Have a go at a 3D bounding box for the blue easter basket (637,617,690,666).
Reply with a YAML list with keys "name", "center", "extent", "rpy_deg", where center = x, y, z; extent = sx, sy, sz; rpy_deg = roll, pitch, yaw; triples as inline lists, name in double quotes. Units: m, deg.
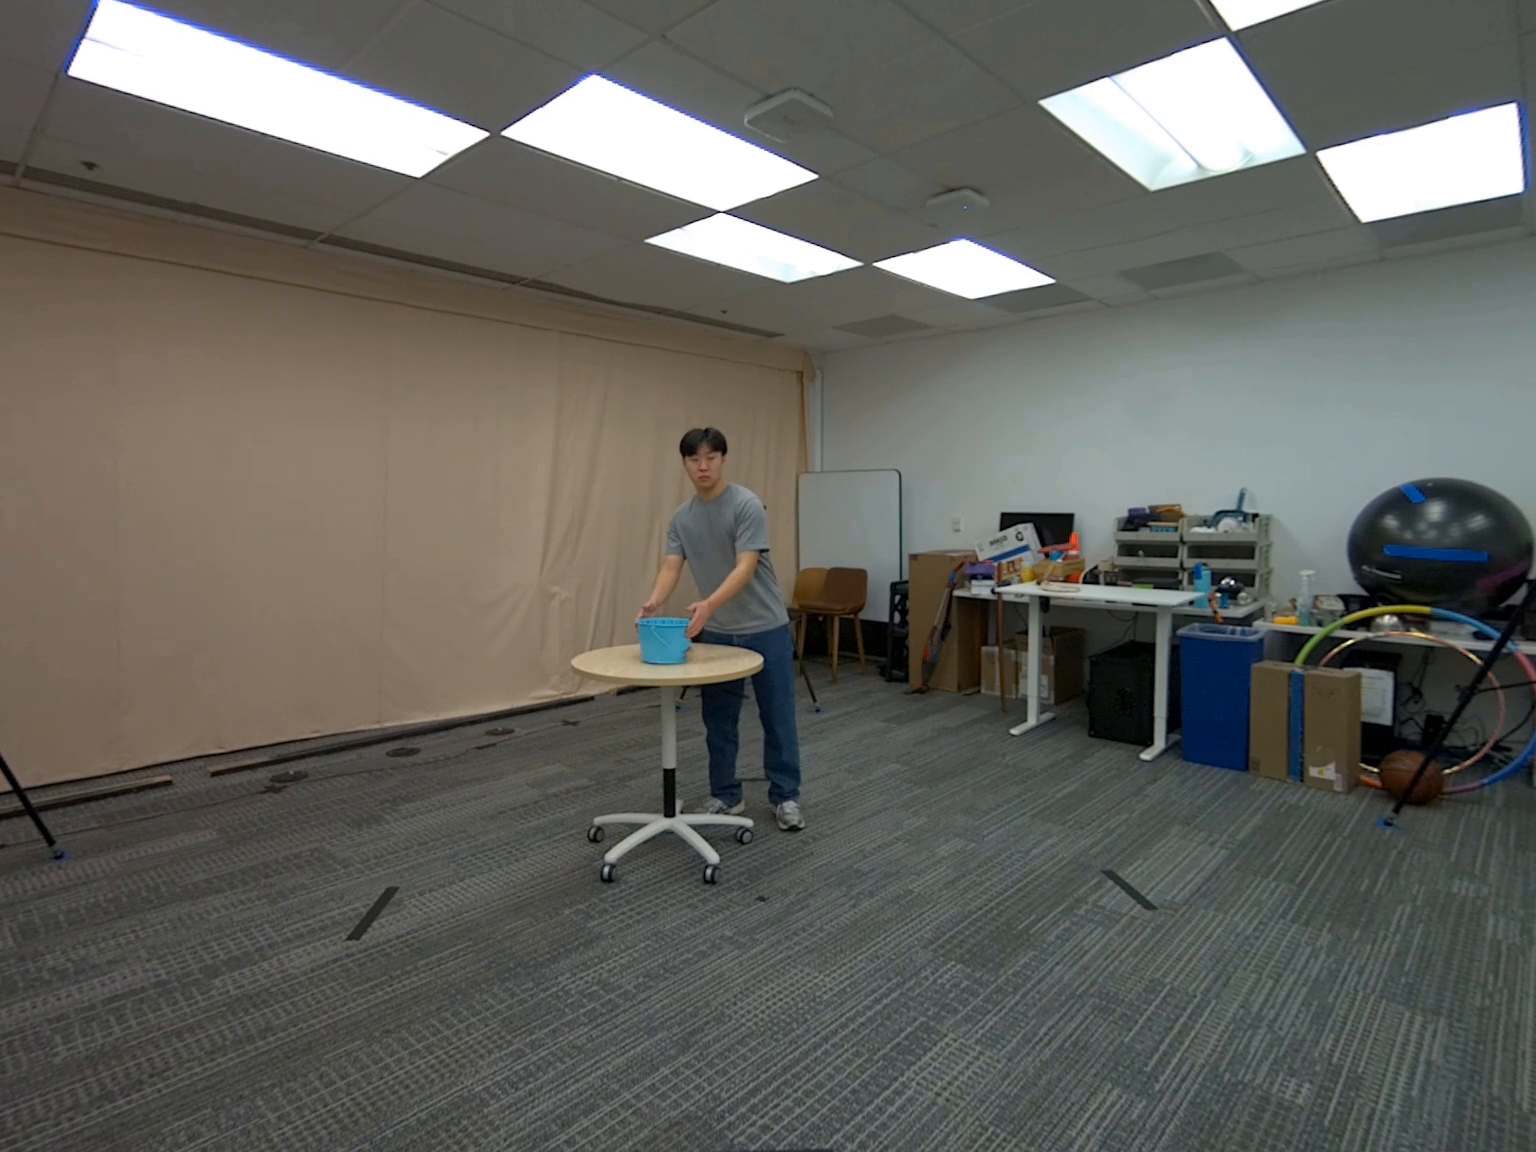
- name: "blue easter basket"
  center: [-0.407, 0.253, 3.331]
  extent: [0.243, 0.156, 0.244]
  rpy_deg: [1, 0, -2]
